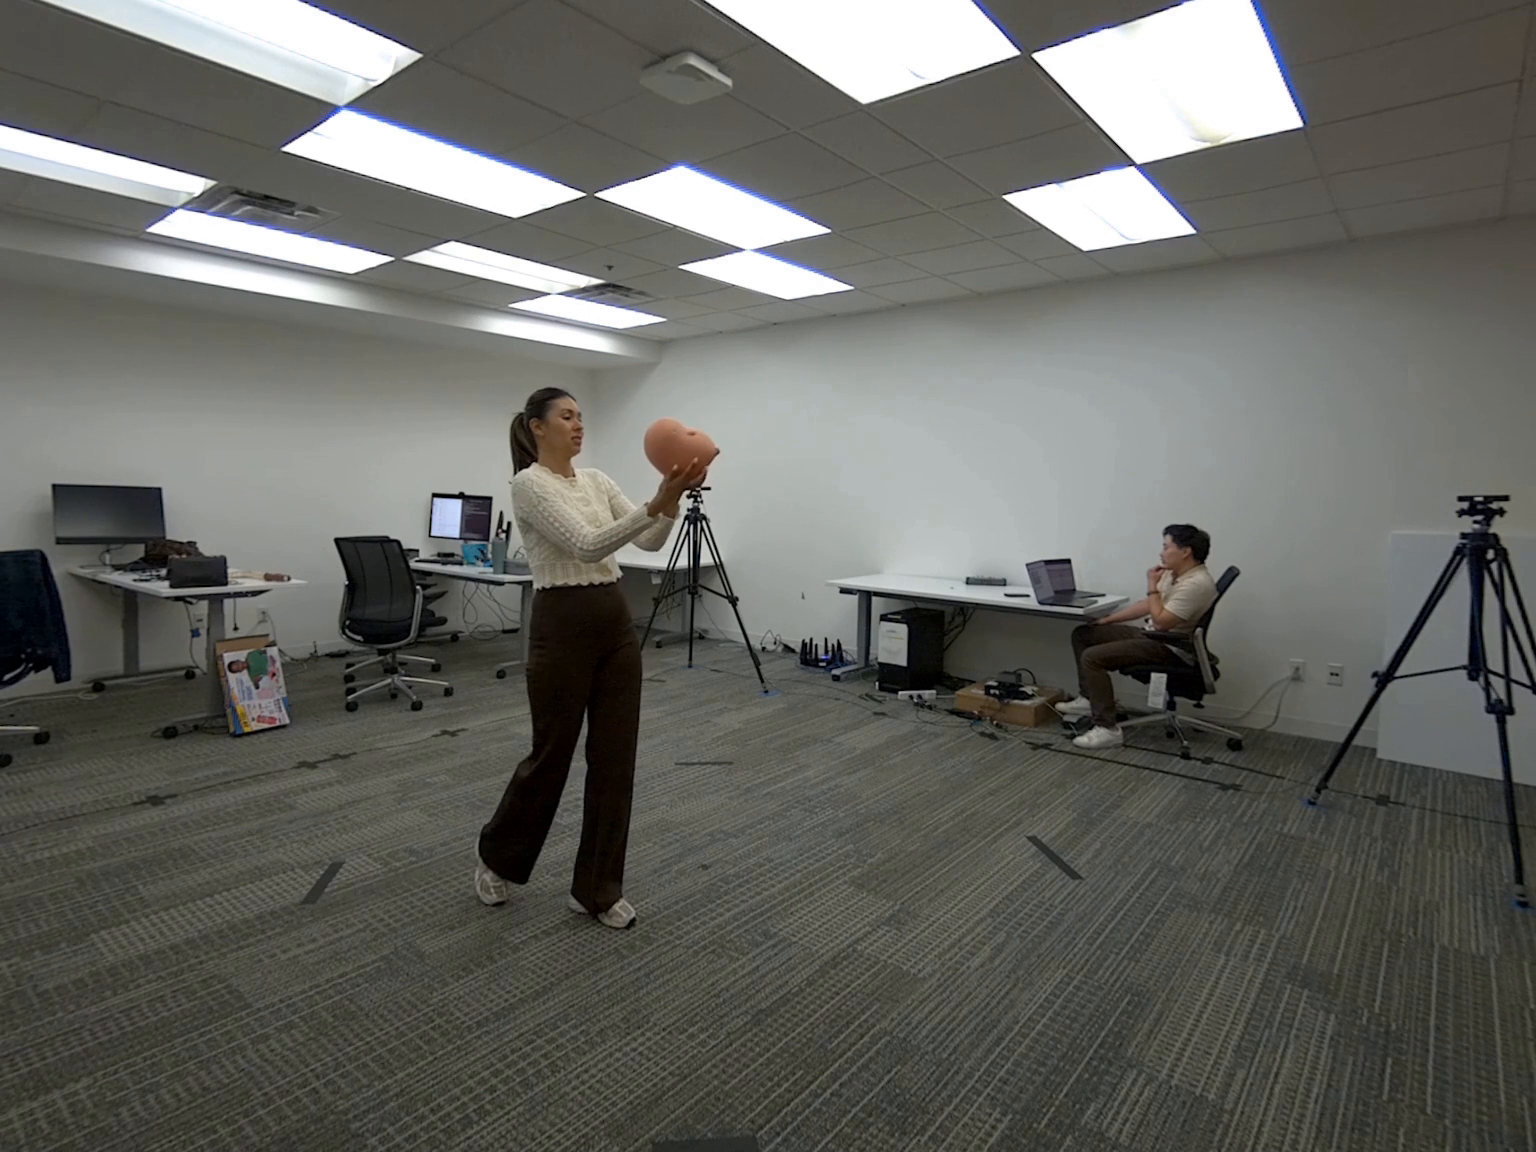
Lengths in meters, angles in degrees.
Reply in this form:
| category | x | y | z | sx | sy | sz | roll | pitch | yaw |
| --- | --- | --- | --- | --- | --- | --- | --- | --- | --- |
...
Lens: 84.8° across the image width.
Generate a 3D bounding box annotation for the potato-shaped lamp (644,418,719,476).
| category | x | y | z | sx | sy | sz | roll | pitch | yaw |
| --- | --- | --- | --- | --- | --- | --- | --- | --- | --- |
| potato-shaped lamp | -0.271 | -0.370 | 2.450 | 0.193 | 0.171 | 0.169 | 48 | -8 | -22 |
